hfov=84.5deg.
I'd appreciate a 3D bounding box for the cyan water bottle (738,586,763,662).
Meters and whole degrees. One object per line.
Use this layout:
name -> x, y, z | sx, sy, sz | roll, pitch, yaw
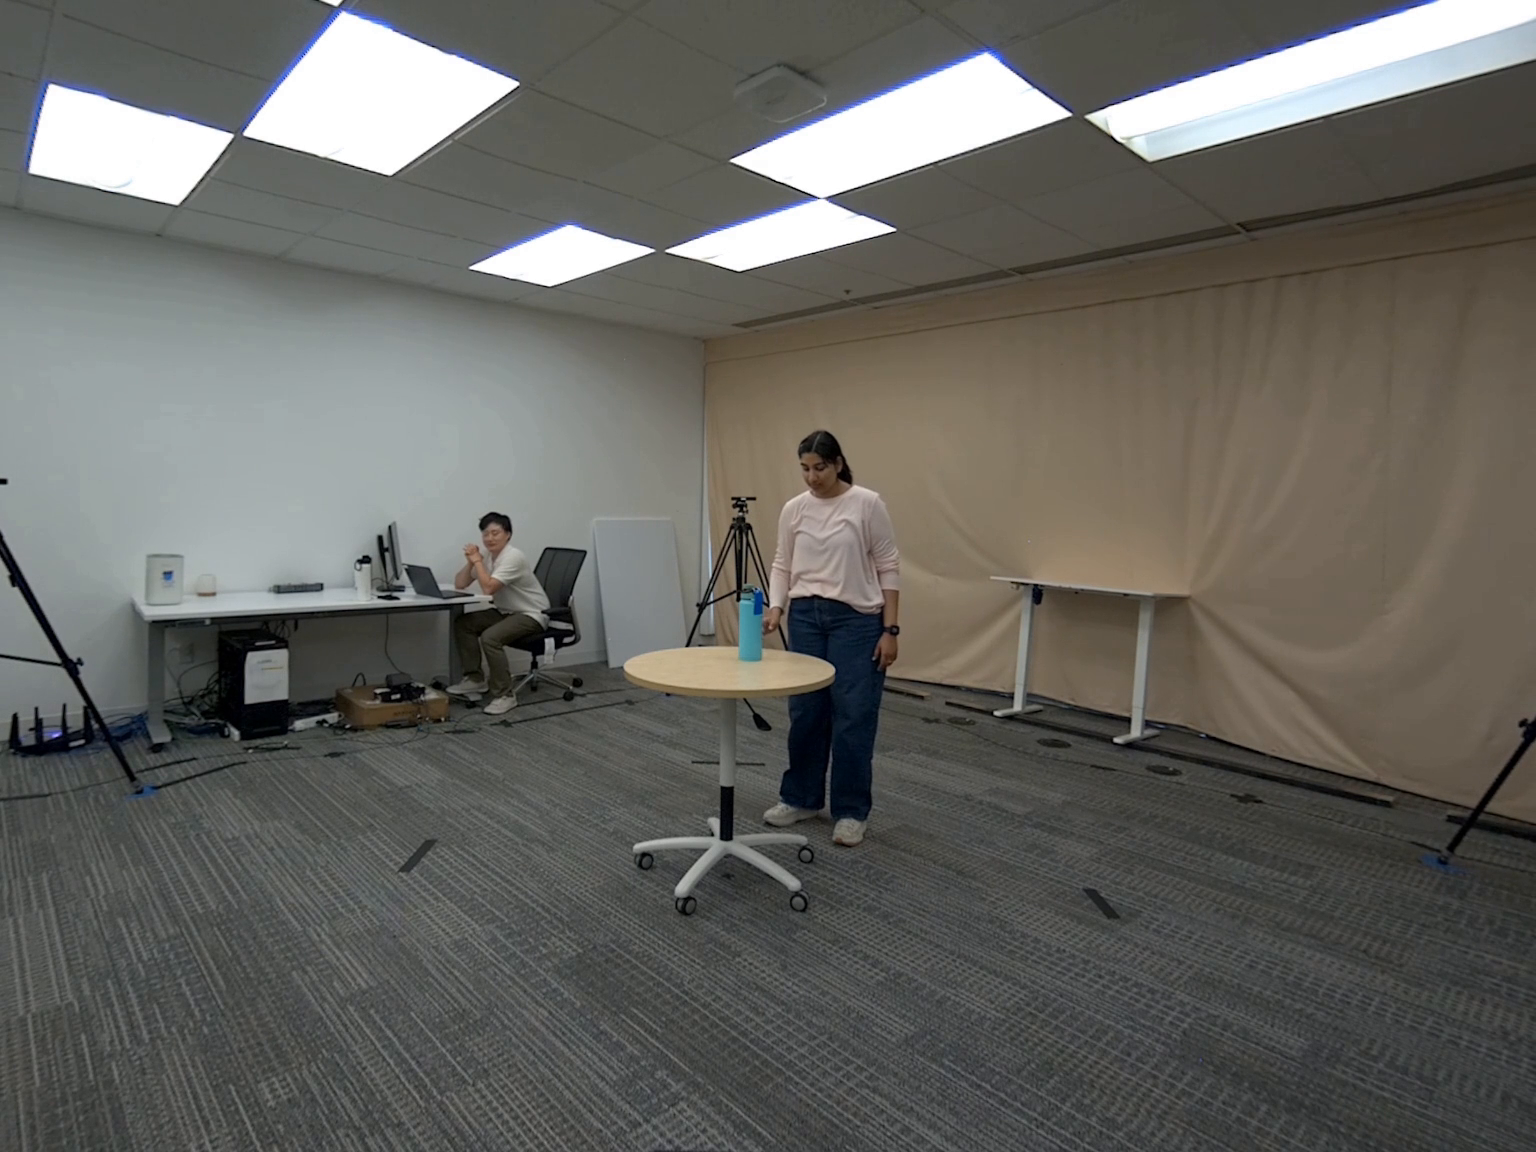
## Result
cyan water bottle -> -0.070, 0.177, 3.180 | 0.092, 0.282, 0.093 | 2, 6, -2
